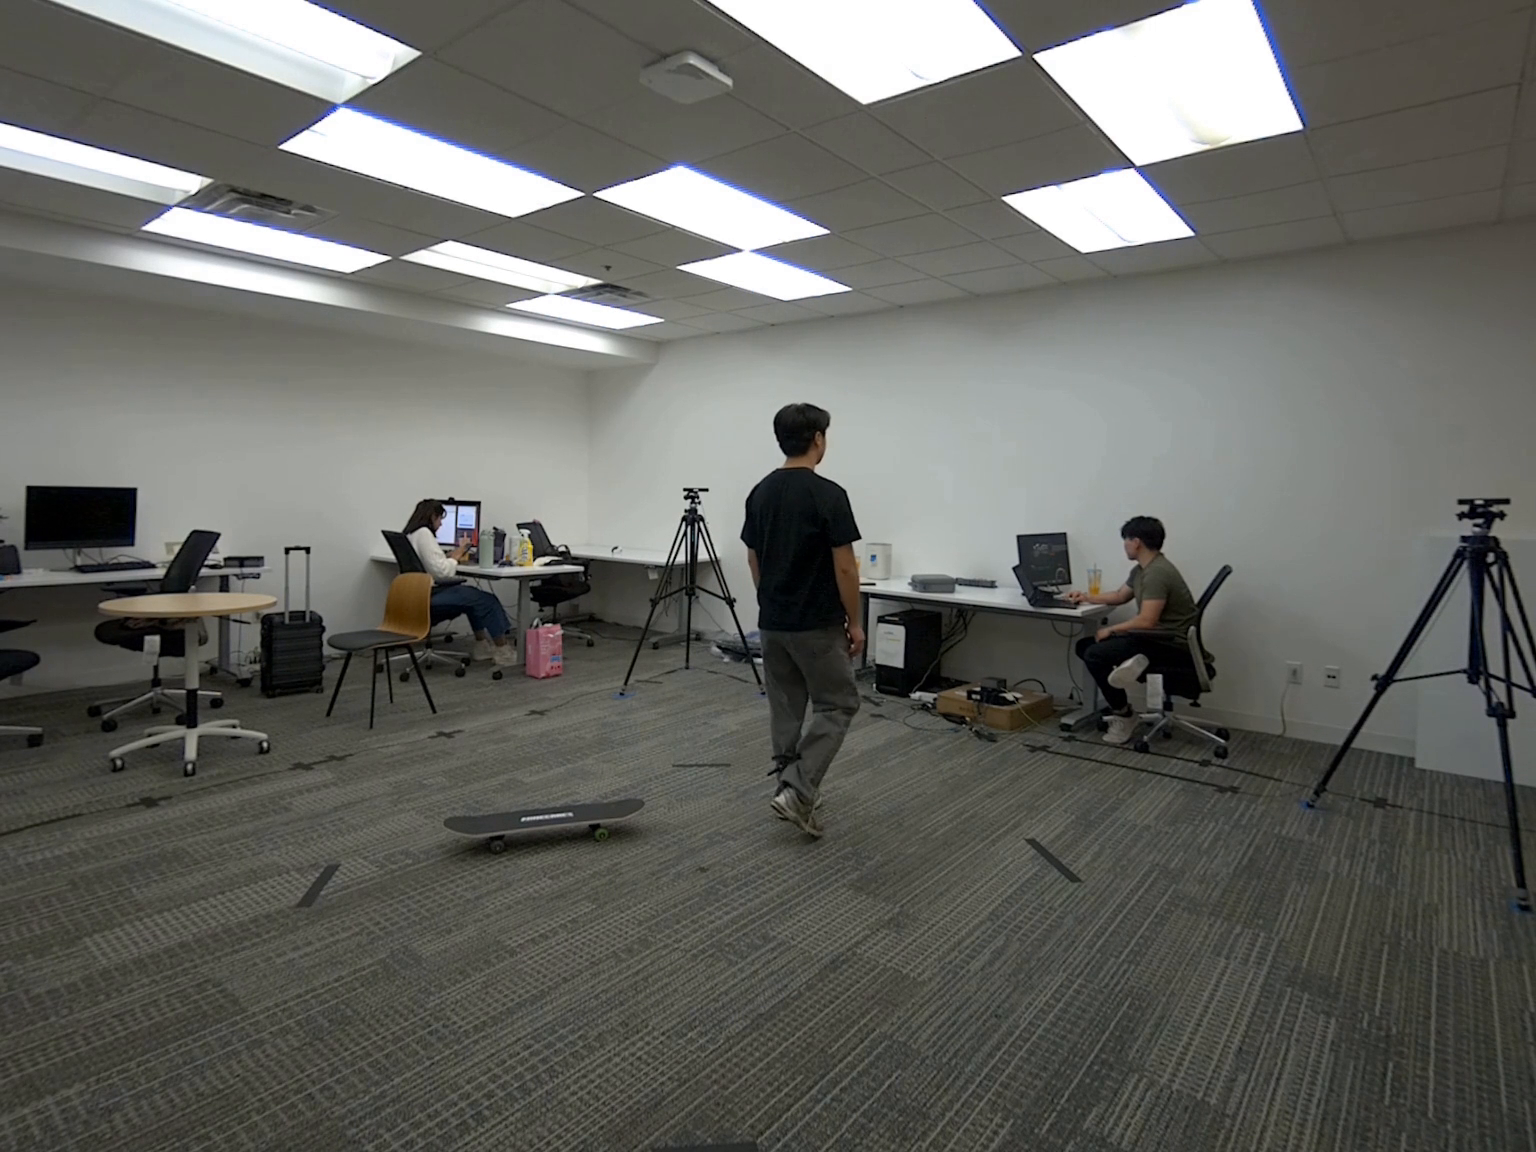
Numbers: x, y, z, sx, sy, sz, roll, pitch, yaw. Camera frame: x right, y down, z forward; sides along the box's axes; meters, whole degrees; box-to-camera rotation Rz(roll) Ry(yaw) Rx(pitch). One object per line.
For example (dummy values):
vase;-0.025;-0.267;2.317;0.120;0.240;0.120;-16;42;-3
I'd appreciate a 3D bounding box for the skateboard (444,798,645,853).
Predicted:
skateboard;-0.881;0.979;3.352;0.770;0.110;0.198;-1;5;-20
